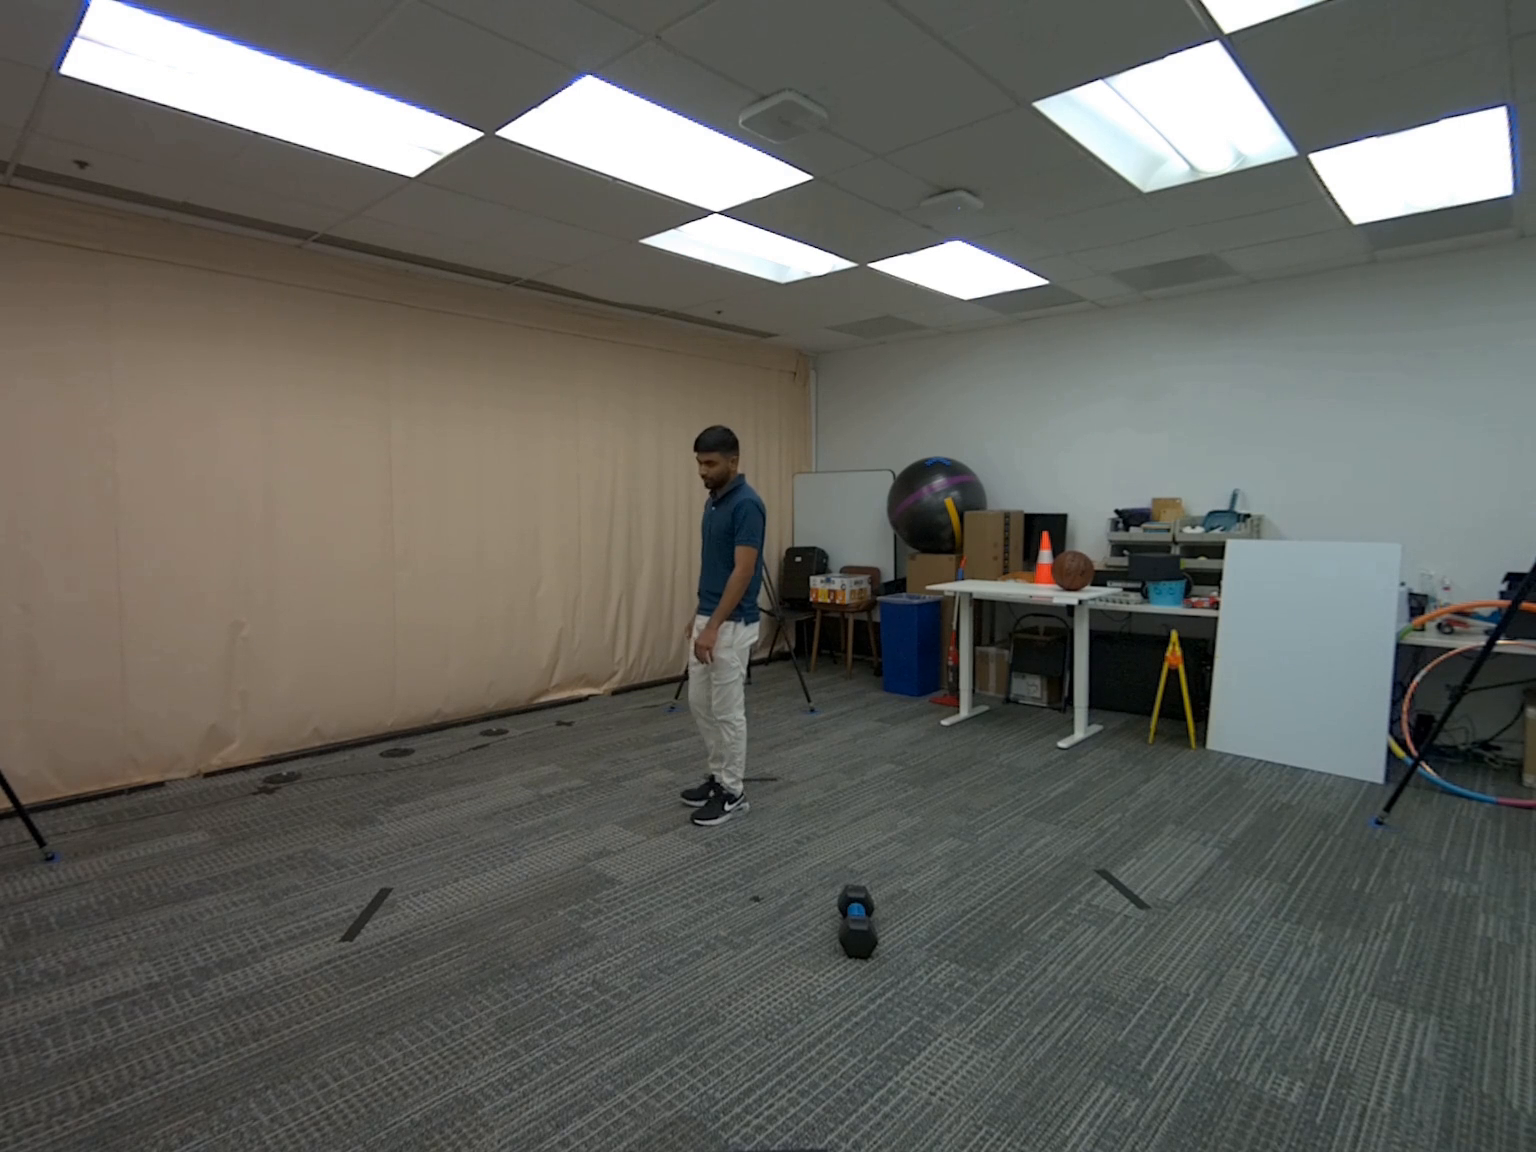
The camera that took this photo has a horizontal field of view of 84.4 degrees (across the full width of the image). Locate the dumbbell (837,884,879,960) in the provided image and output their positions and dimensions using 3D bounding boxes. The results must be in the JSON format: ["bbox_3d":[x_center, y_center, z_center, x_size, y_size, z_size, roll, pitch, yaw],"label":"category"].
[{"bbox_3d":[0.292,1.114,2.715,0.109,0.123,0.292,-29,2,6],"label":"dumbbell"}]
